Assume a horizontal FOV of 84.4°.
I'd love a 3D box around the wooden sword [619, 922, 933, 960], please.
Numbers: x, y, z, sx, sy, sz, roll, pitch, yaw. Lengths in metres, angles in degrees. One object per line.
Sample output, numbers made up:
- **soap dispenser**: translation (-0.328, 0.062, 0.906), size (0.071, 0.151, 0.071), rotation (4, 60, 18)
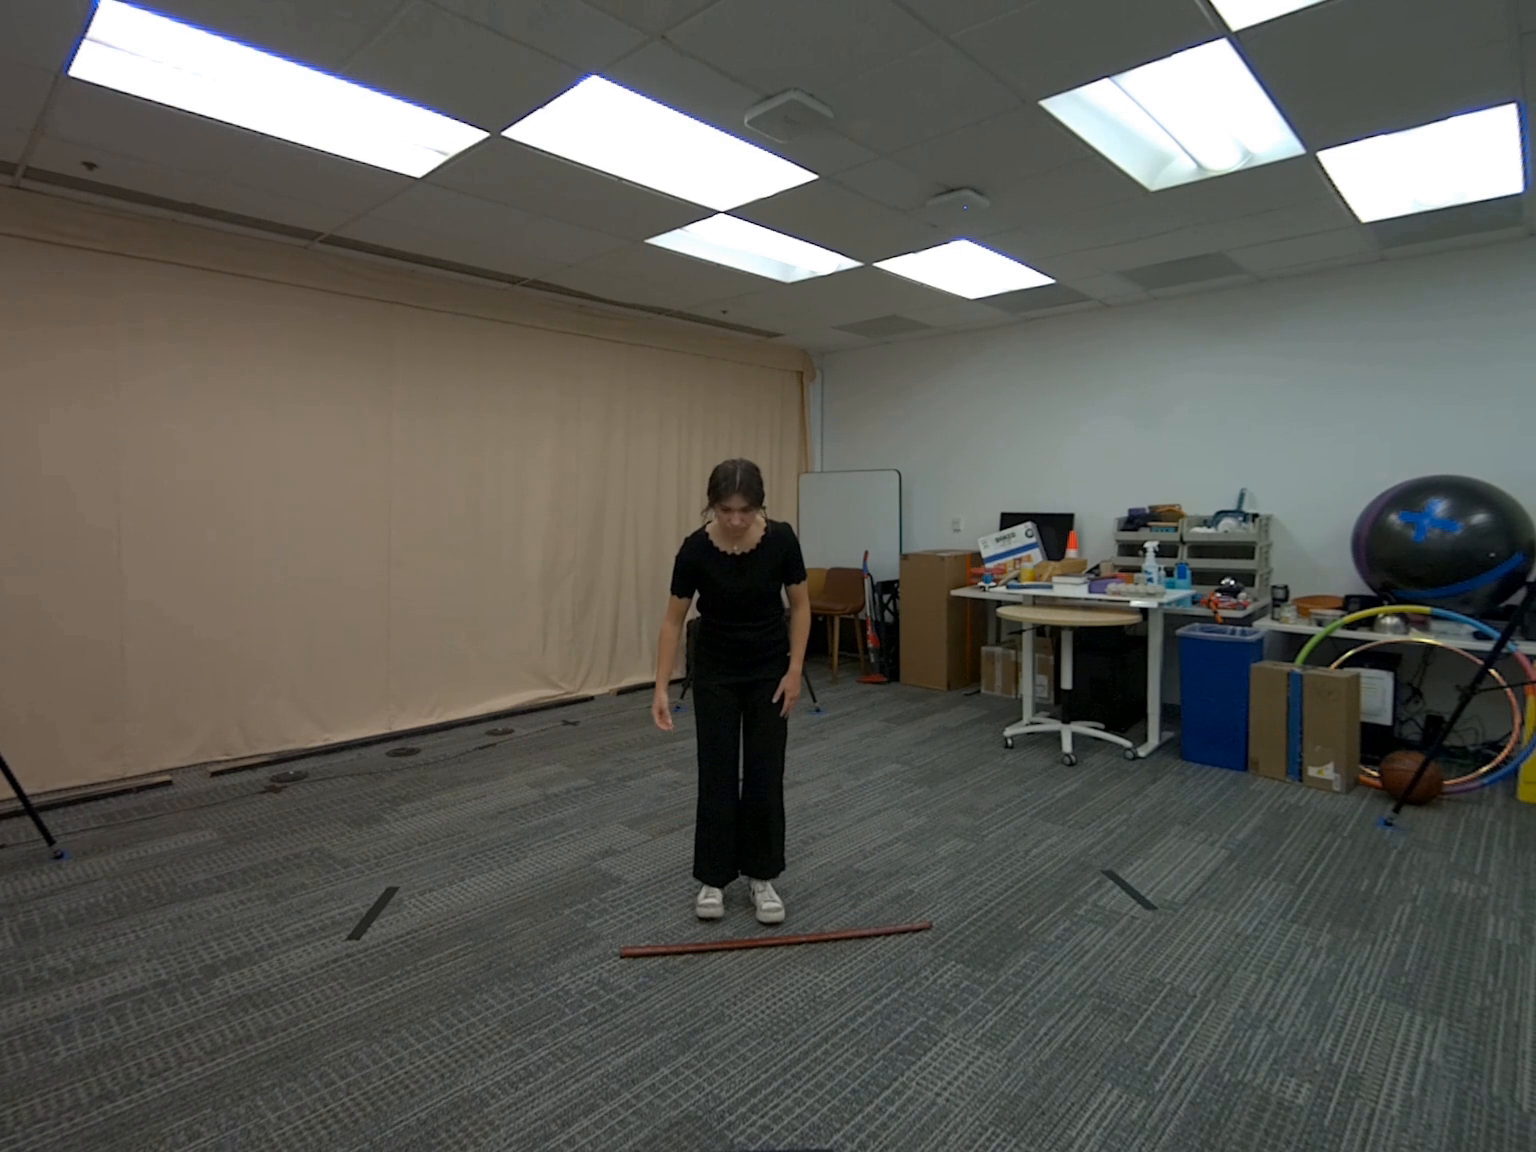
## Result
- **wooden sword**: translation (0.051, 1.150, 2.683), size (1.015, 0.024, 0.052), rotation (-1, 10, -9)
